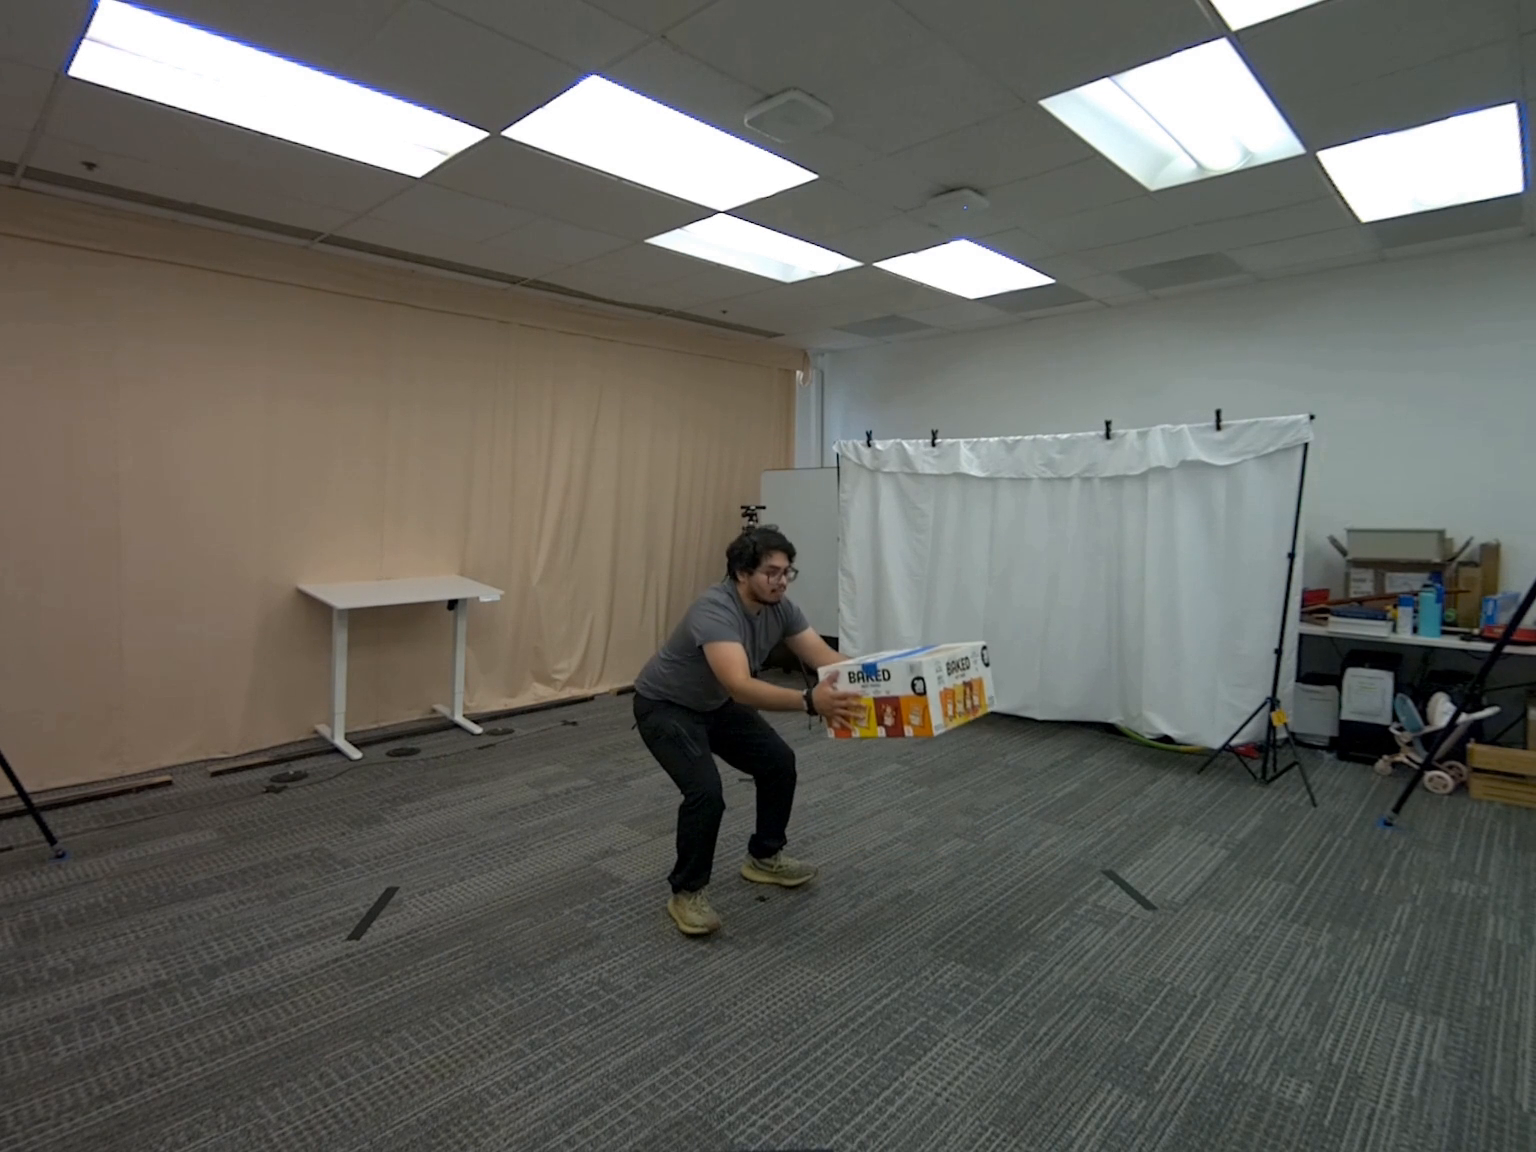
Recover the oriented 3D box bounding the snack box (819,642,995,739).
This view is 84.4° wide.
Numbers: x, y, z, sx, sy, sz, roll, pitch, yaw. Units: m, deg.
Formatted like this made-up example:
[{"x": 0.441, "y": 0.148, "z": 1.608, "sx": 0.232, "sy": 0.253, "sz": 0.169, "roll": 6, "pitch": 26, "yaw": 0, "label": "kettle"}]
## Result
[{"x": 0.411, "y": 0.334, "z": 2.454, "sx": 0.350, "sy": 0.206, "sz": 0.393, "roll": -10, "pitch": -3, "yaw": 39, "label": "snack box"}]
